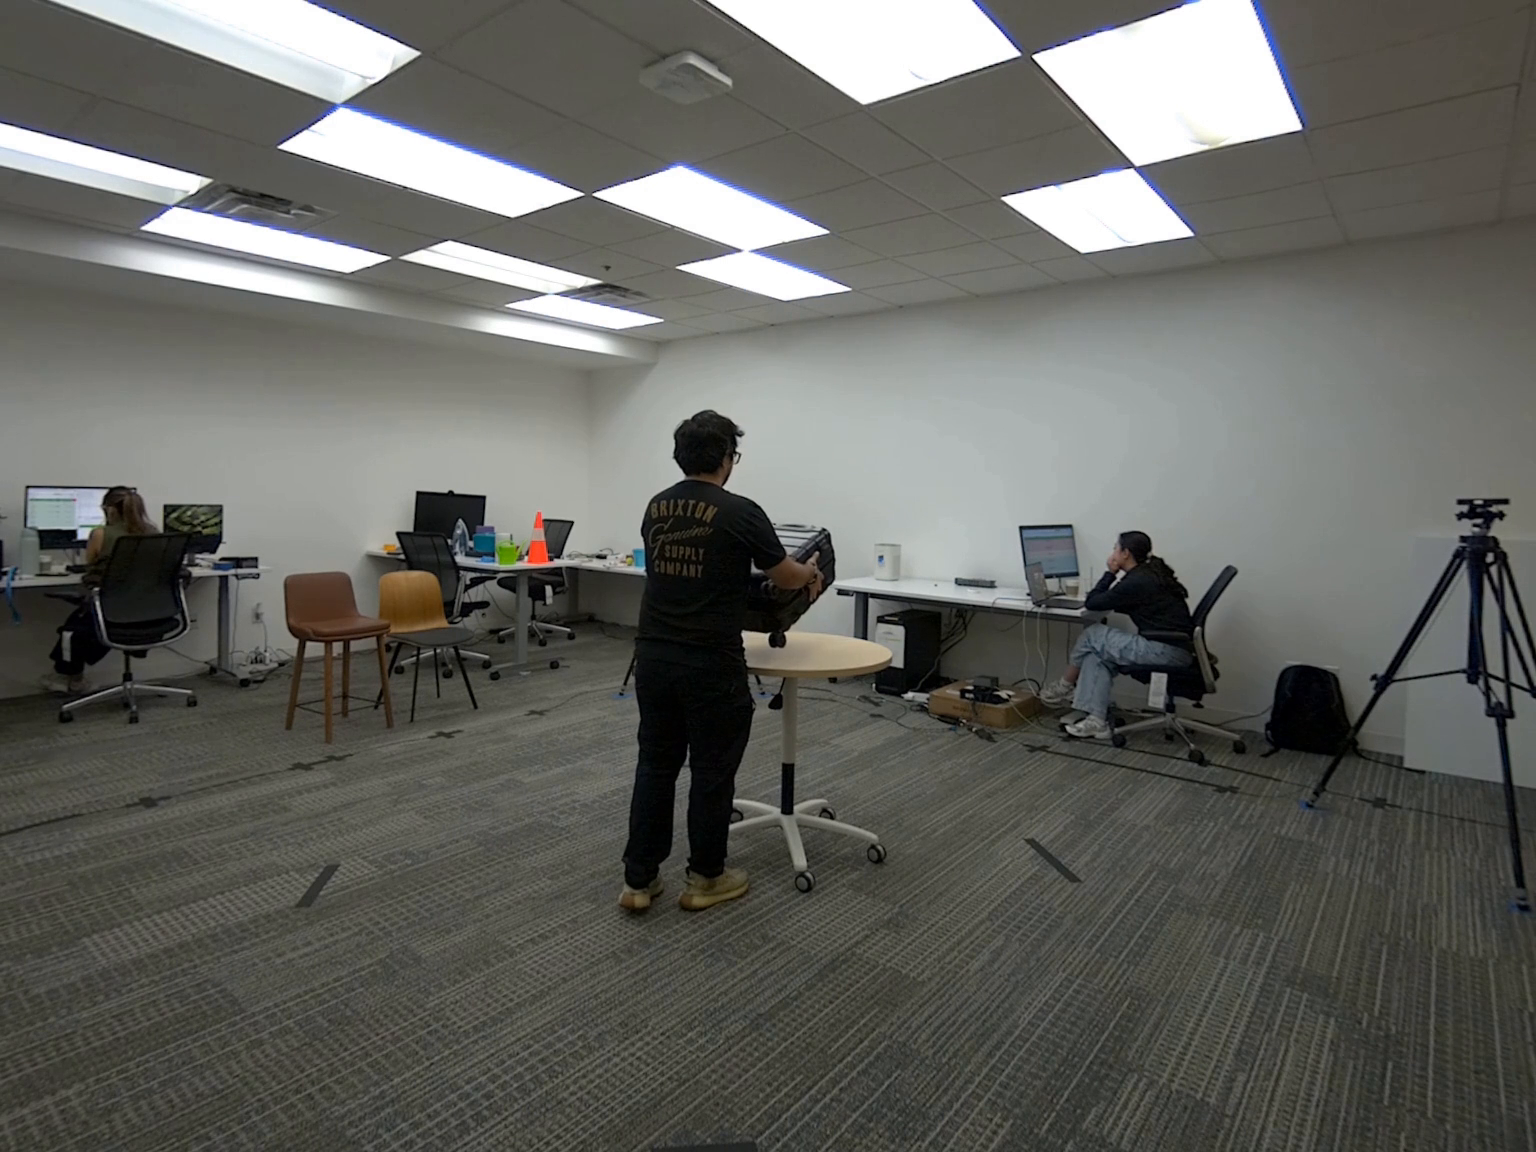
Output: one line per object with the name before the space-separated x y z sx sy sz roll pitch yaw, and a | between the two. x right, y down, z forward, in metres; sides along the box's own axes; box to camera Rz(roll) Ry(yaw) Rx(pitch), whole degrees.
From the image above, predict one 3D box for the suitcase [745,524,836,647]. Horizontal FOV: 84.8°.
suitcase | 0.002 0.000 3.233 0.386 0.242 0.546 5 28 29
